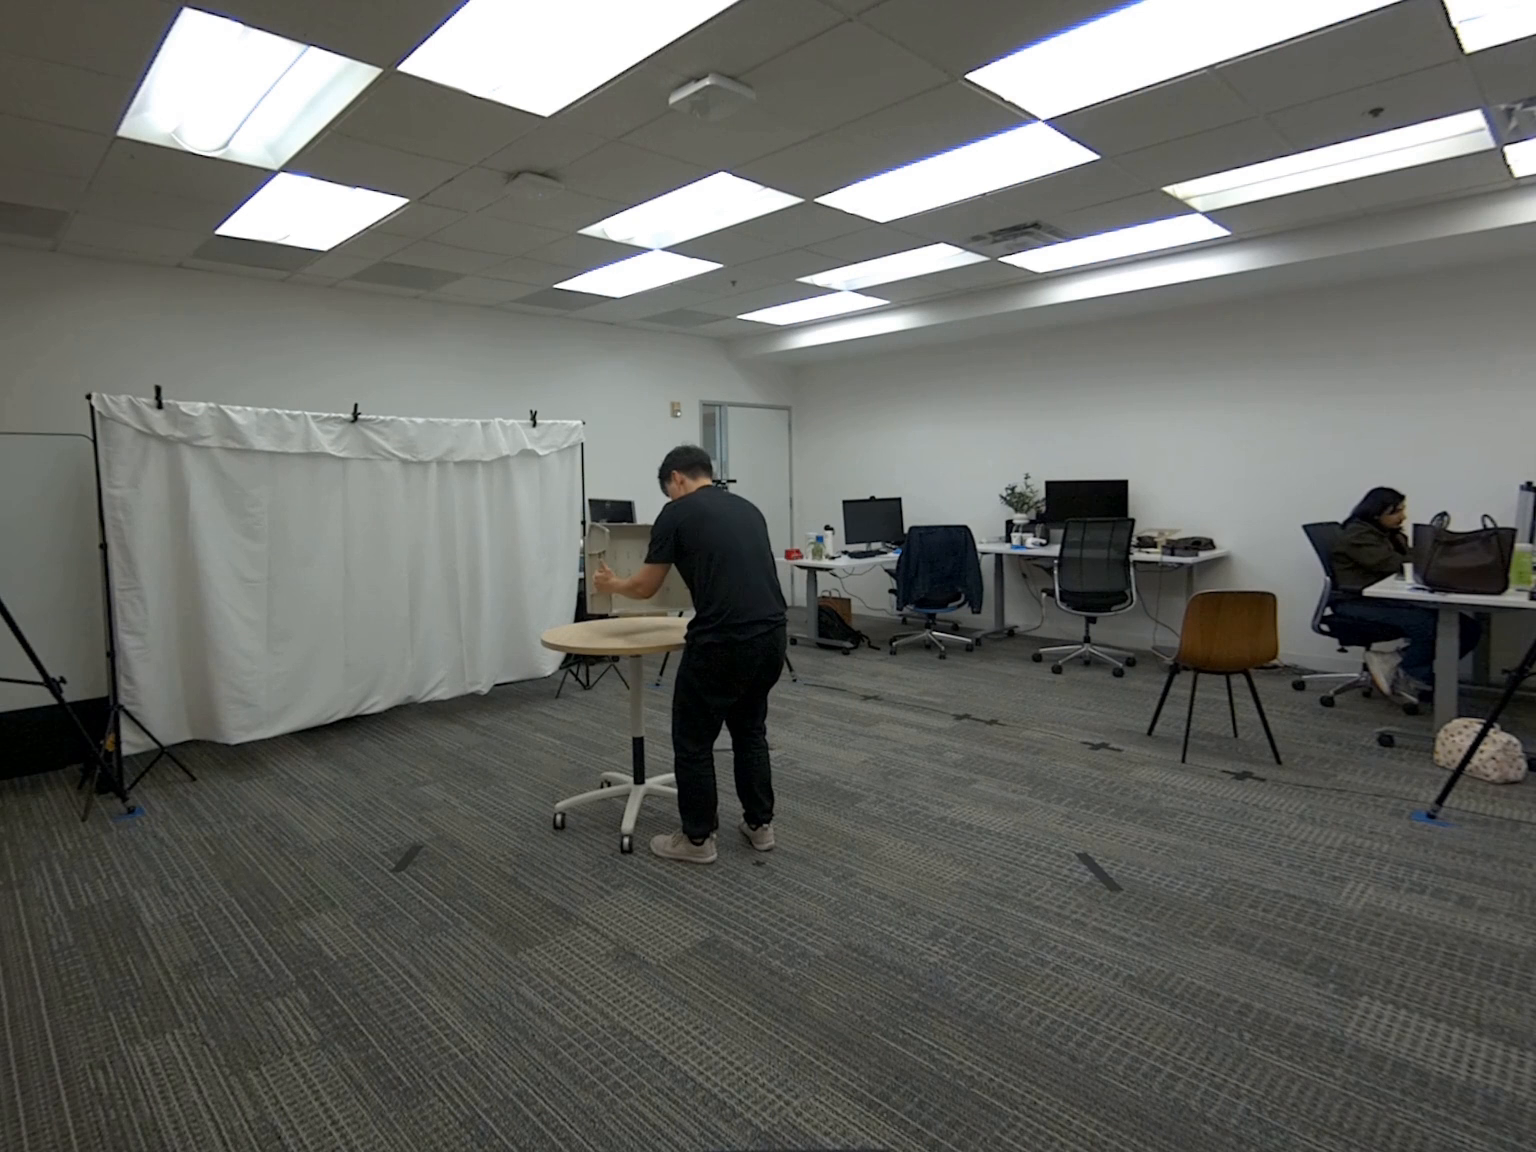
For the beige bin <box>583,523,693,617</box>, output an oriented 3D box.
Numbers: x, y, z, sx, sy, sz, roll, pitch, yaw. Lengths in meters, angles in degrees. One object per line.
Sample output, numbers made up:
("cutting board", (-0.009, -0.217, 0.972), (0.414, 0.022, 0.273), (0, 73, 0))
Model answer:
("beige bin", (-0.531, -0.032, 3.541), (0.410, 0.379, 0.194), (-1, -4, -41))
